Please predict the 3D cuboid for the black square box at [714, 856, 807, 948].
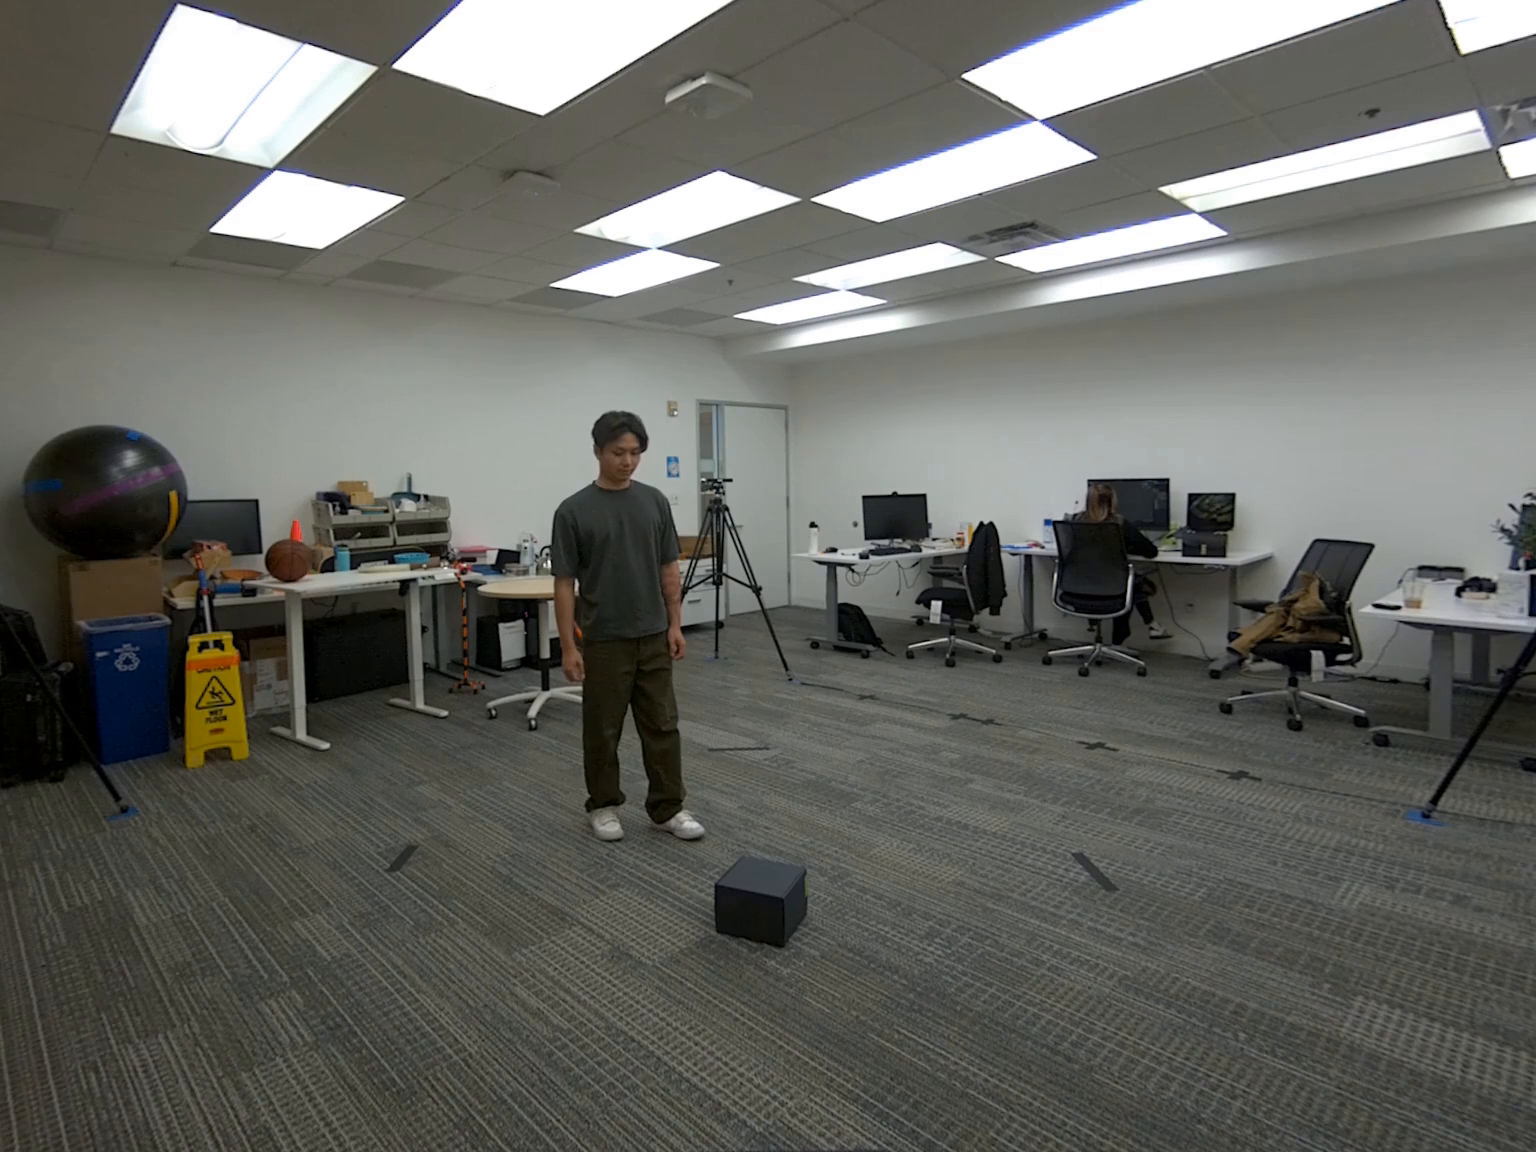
[{"bbox_3d":[-0.013,1.009,2.679,0.233,0.155,0.213,1,6,23],"label":"black square box"}]
